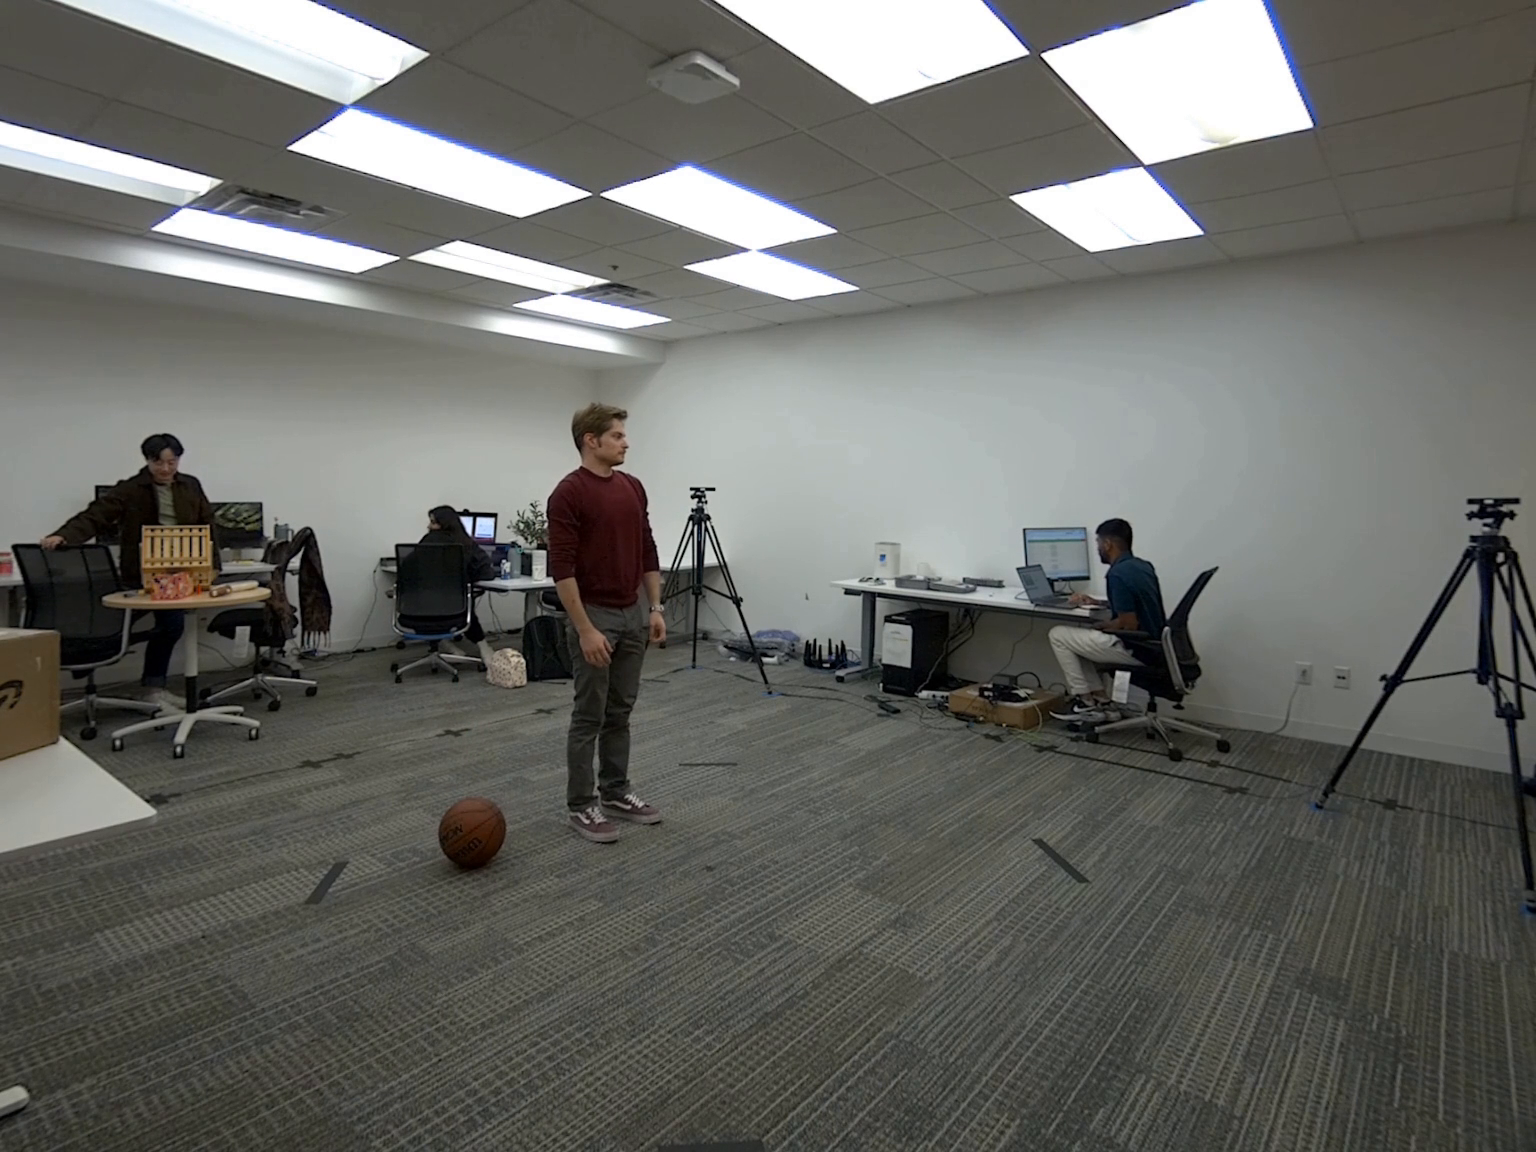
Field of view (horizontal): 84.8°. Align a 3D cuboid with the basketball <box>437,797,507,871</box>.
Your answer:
[{"bbox_3d":[-1.096,0.933,3.107,0.235,0.235,0.237,1,4,-2],"label":"basketball"}]
